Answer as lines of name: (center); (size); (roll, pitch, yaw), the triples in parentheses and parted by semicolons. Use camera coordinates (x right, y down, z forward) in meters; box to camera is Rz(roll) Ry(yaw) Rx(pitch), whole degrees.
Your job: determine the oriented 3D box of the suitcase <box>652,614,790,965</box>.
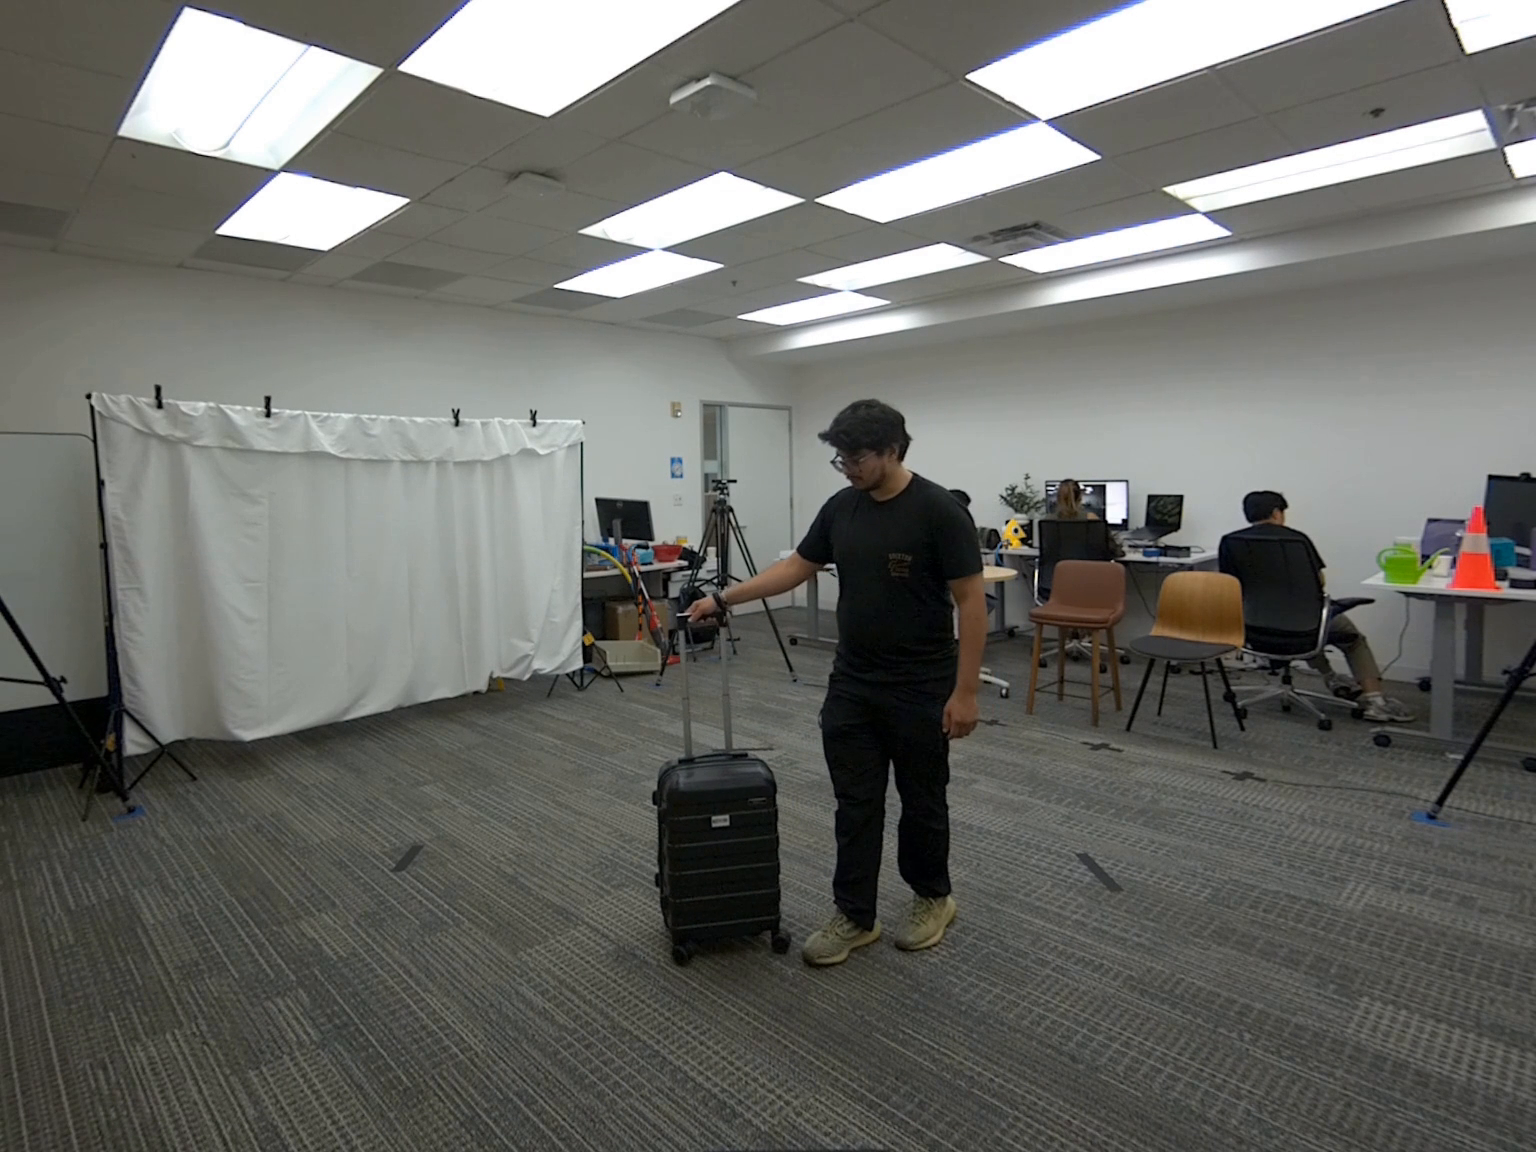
suitcase: (-0.158, 0.628, 2.592); (0.381, 0.973, 0.260); (-4, 5, -10)
